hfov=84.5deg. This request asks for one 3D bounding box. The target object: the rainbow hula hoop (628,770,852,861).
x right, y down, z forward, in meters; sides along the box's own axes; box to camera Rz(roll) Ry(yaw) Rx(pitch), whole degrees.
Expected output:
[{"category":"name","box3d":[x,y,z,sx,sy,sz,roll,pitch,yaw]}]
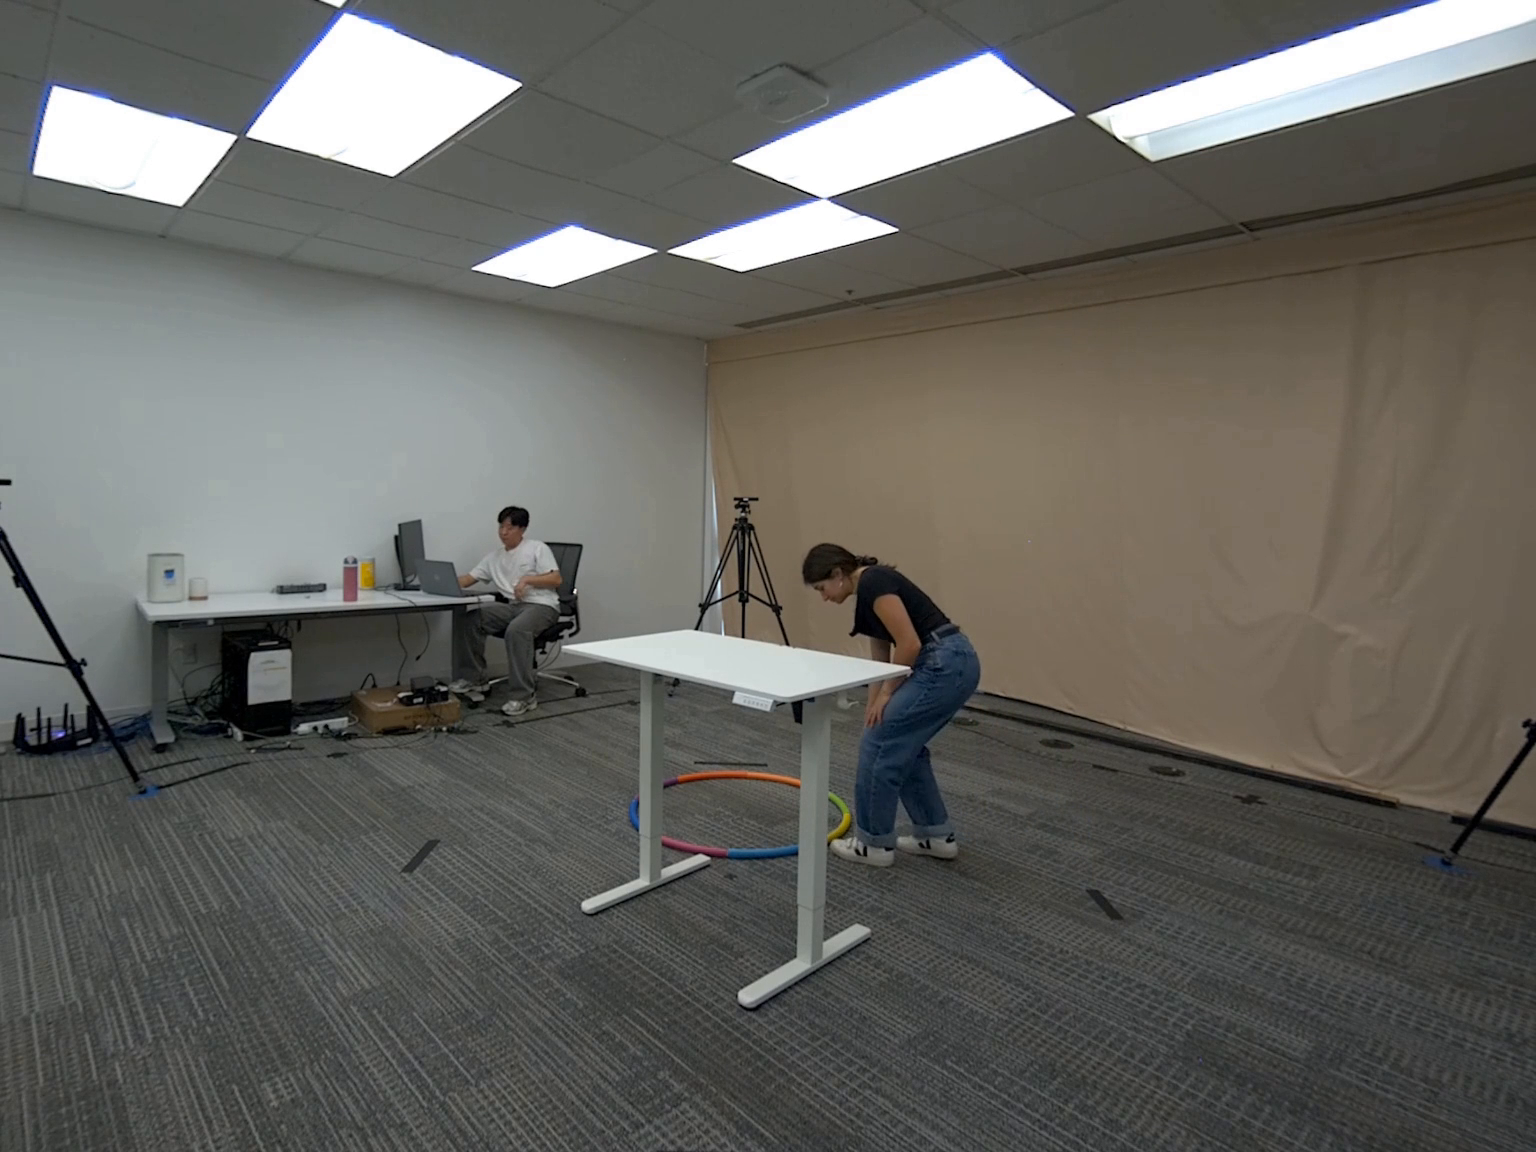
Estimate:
[{"category":"rainbow hula hoop","box3d":[-0.137,1.027,3.732,0.978,0.035,0.982,1,5,-1]}]
